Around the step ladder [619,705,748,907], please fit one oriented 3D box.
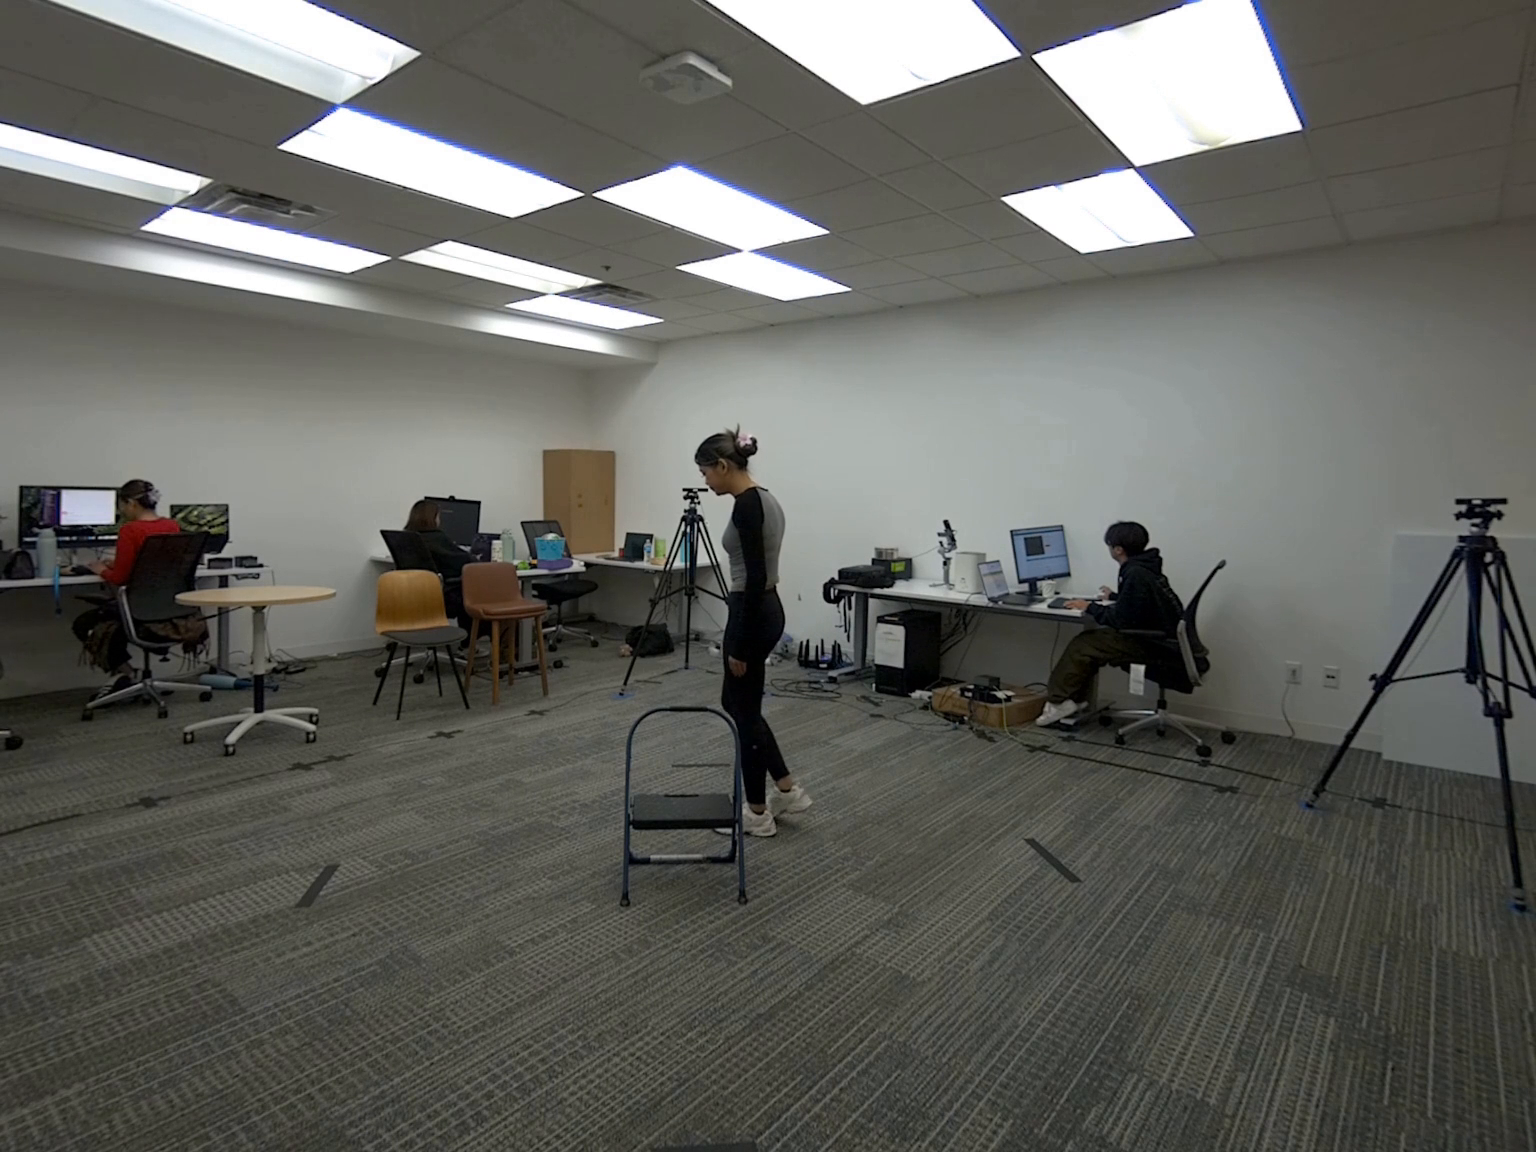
[{"bbox_3d":[-0.308,0.777,2.995,0.428,0.604,0.353,1,3,-7],"label":"step ladder"}]
